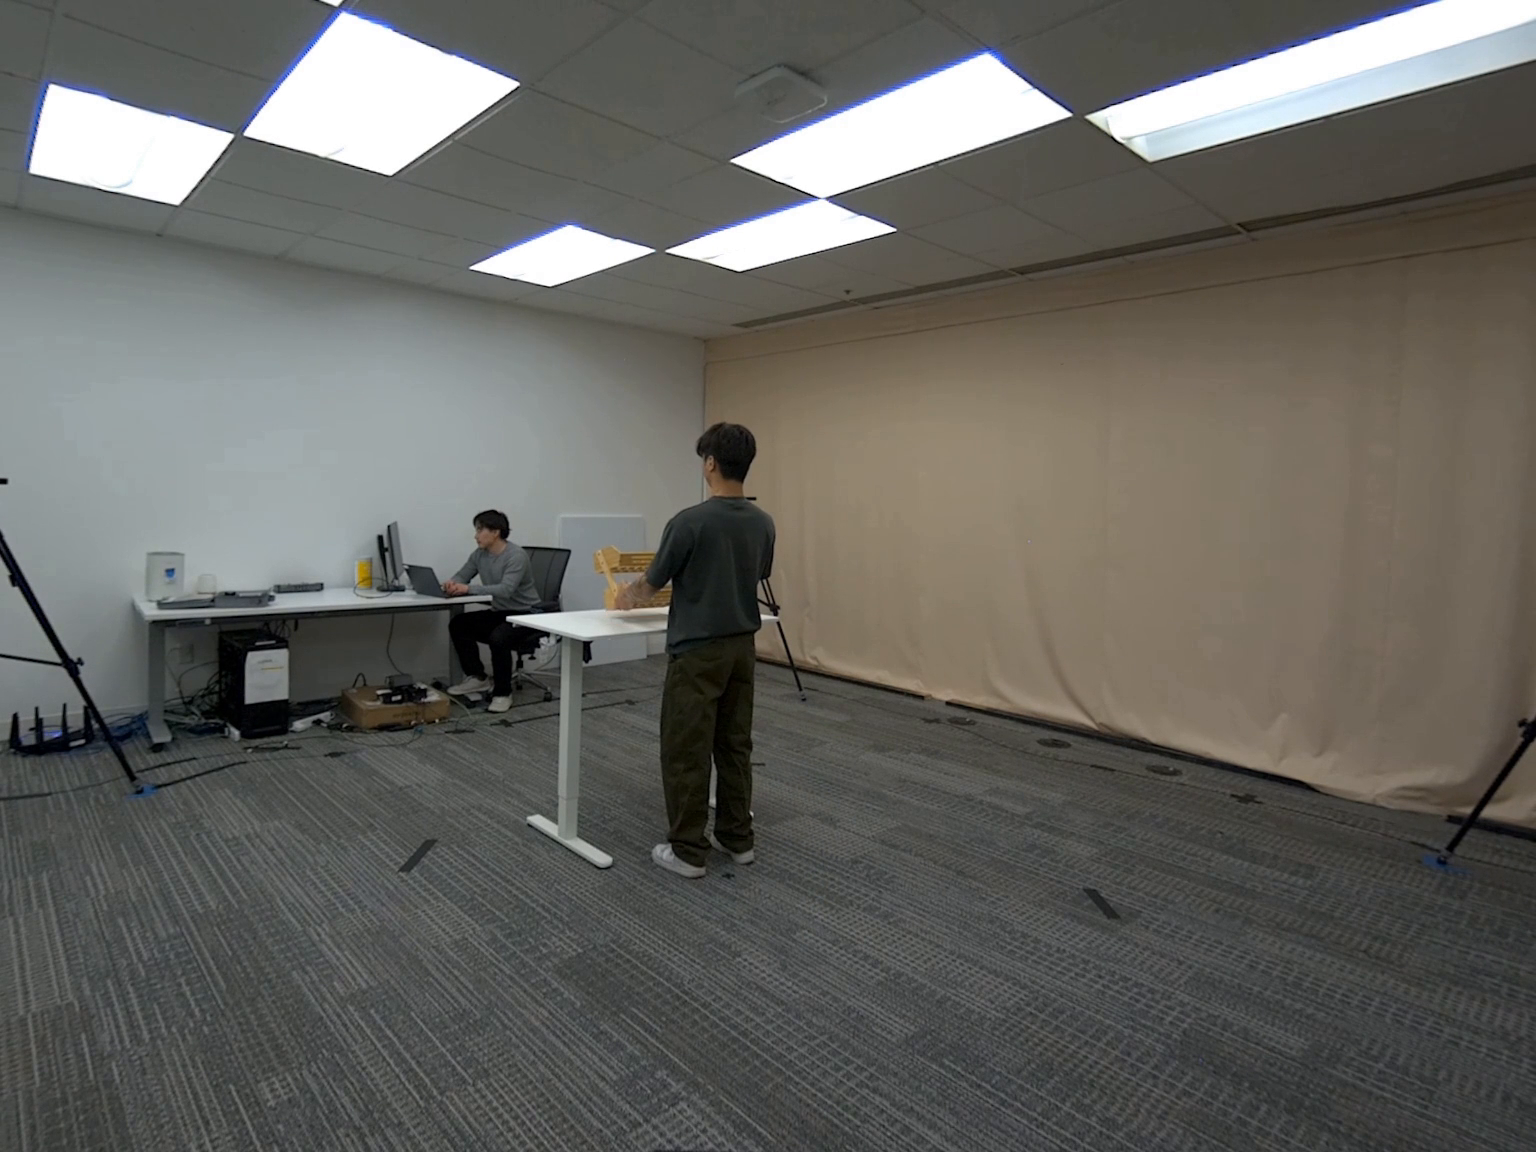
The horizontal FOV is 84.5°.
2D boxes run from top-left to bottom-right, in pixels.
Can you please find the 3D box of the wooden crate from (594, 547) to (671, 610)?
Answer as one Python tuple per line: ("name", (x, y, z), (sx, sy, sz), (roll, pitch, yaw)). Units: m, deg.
("wooden crate", (-0.533, -0.007, 3.568), (0.317, 0.275, 0.307), (0, -10, -42))
